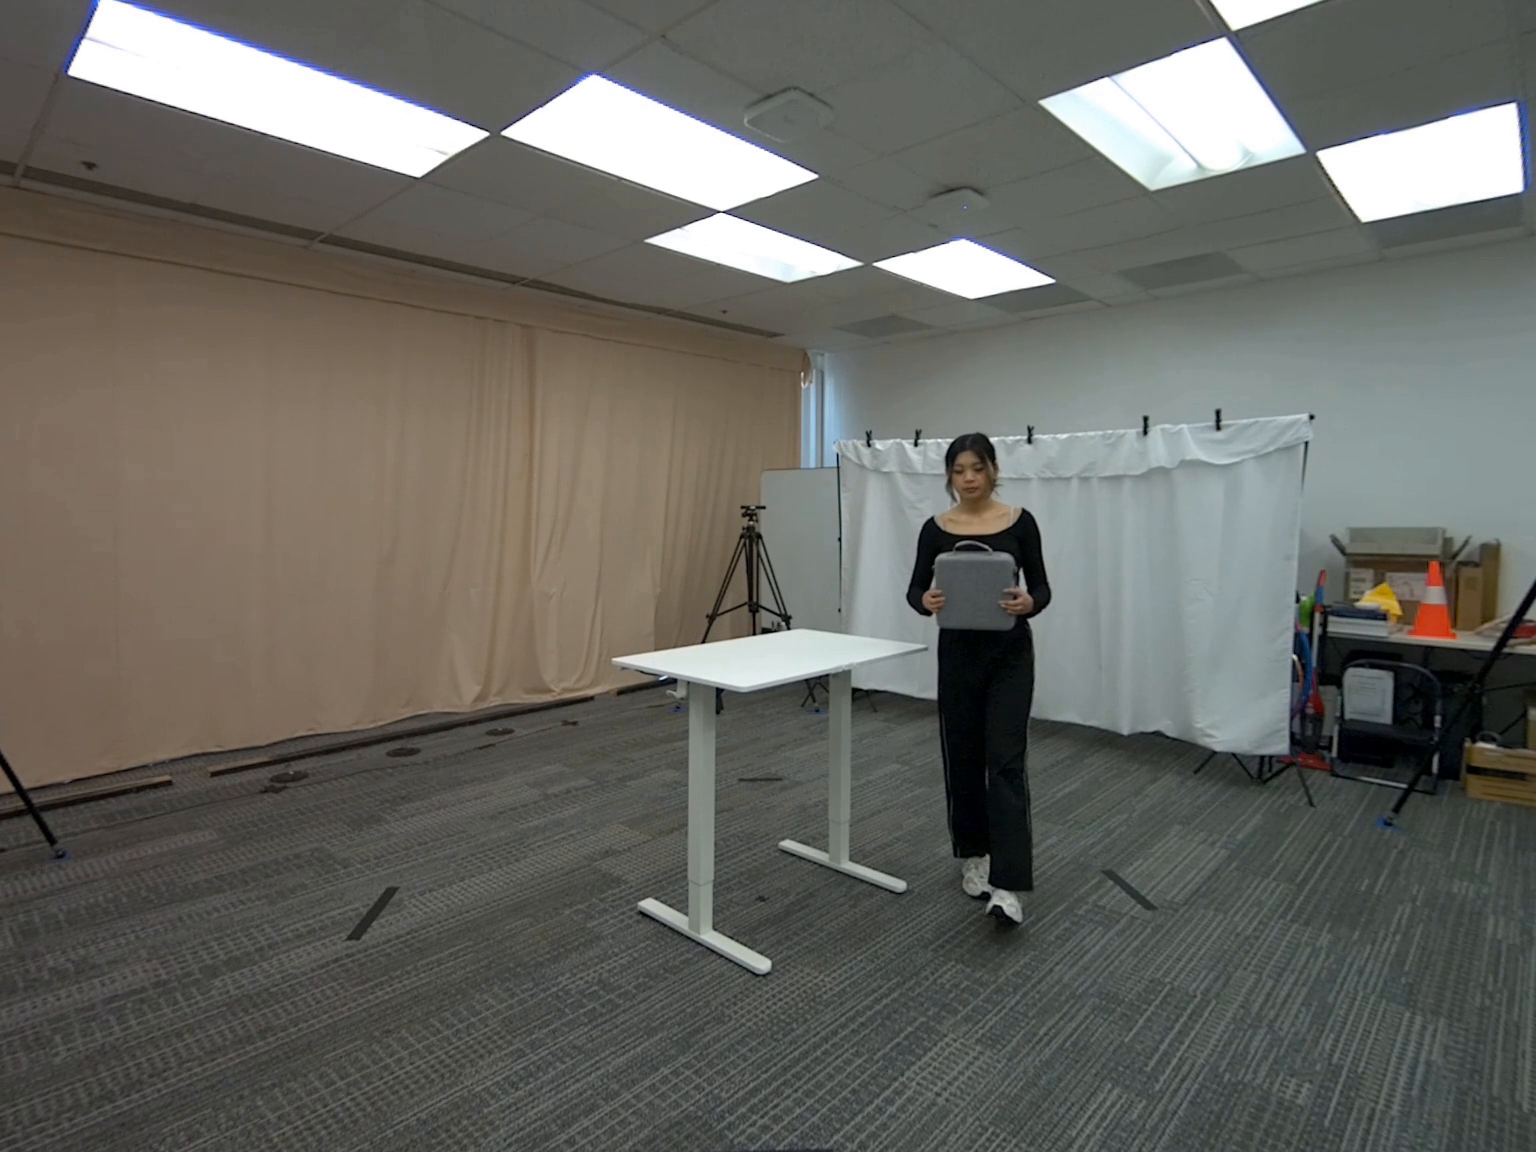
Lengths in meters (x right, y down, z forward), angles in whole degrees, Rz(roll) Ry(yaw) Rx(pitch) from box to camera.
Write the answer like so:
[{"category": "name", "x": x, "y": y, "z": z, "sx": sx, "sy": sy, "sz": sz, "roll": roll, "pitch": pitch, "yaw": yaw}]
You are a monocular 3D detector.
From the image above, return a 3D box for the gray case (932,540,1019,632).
[{"category": "gray case", "x": 0.693, "y": 0.047, "z": 2.798, "sx": 0.263, "sy": 0.259, "sz": 0.102, "roll": 0, "pitch": 11, "yaw": 25}]
